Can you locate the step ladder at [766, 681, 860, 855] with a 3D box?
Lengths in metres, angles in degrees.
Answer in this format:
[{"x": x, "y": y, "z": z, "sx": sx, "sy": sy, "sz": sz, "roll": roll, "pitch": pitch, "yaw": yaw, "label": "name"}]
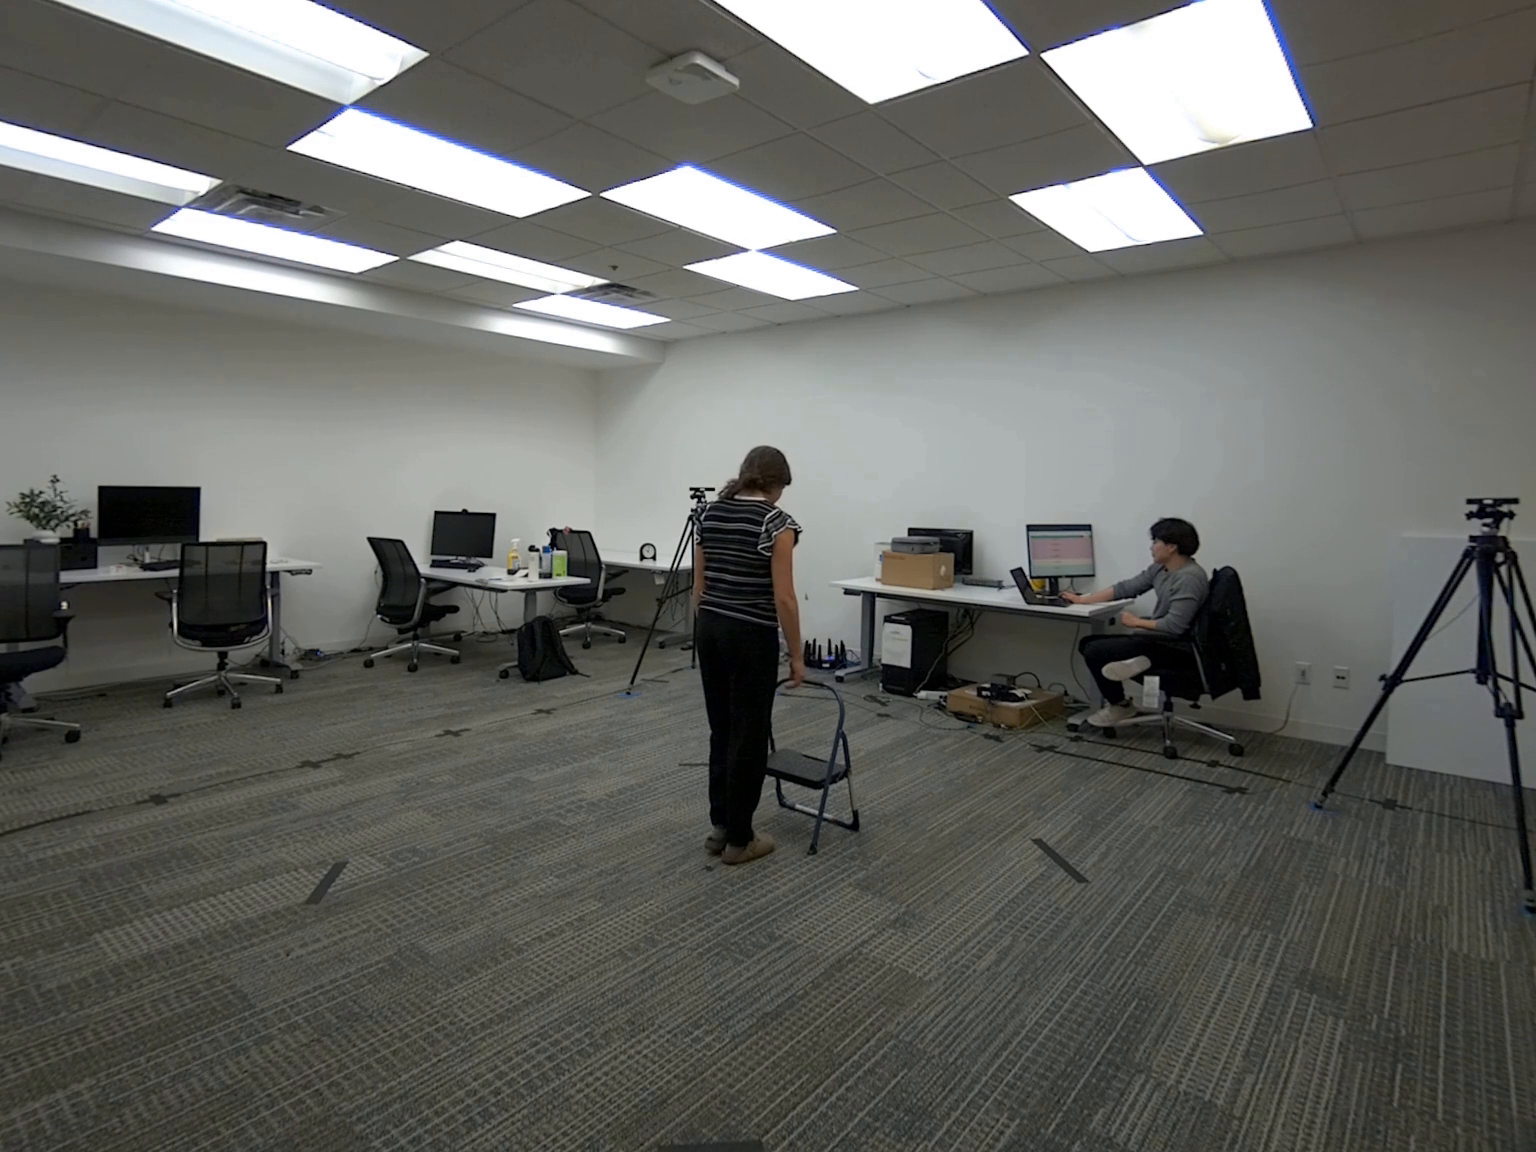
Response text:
[{"x": 0.109, "y": 0.734, "z": 3.492, "sx": 0.445, "sy": 0.604, "sz": 0.339, "roll": 4, "pitch": 5, "yaw": 39, "label": "step ladder"}]
